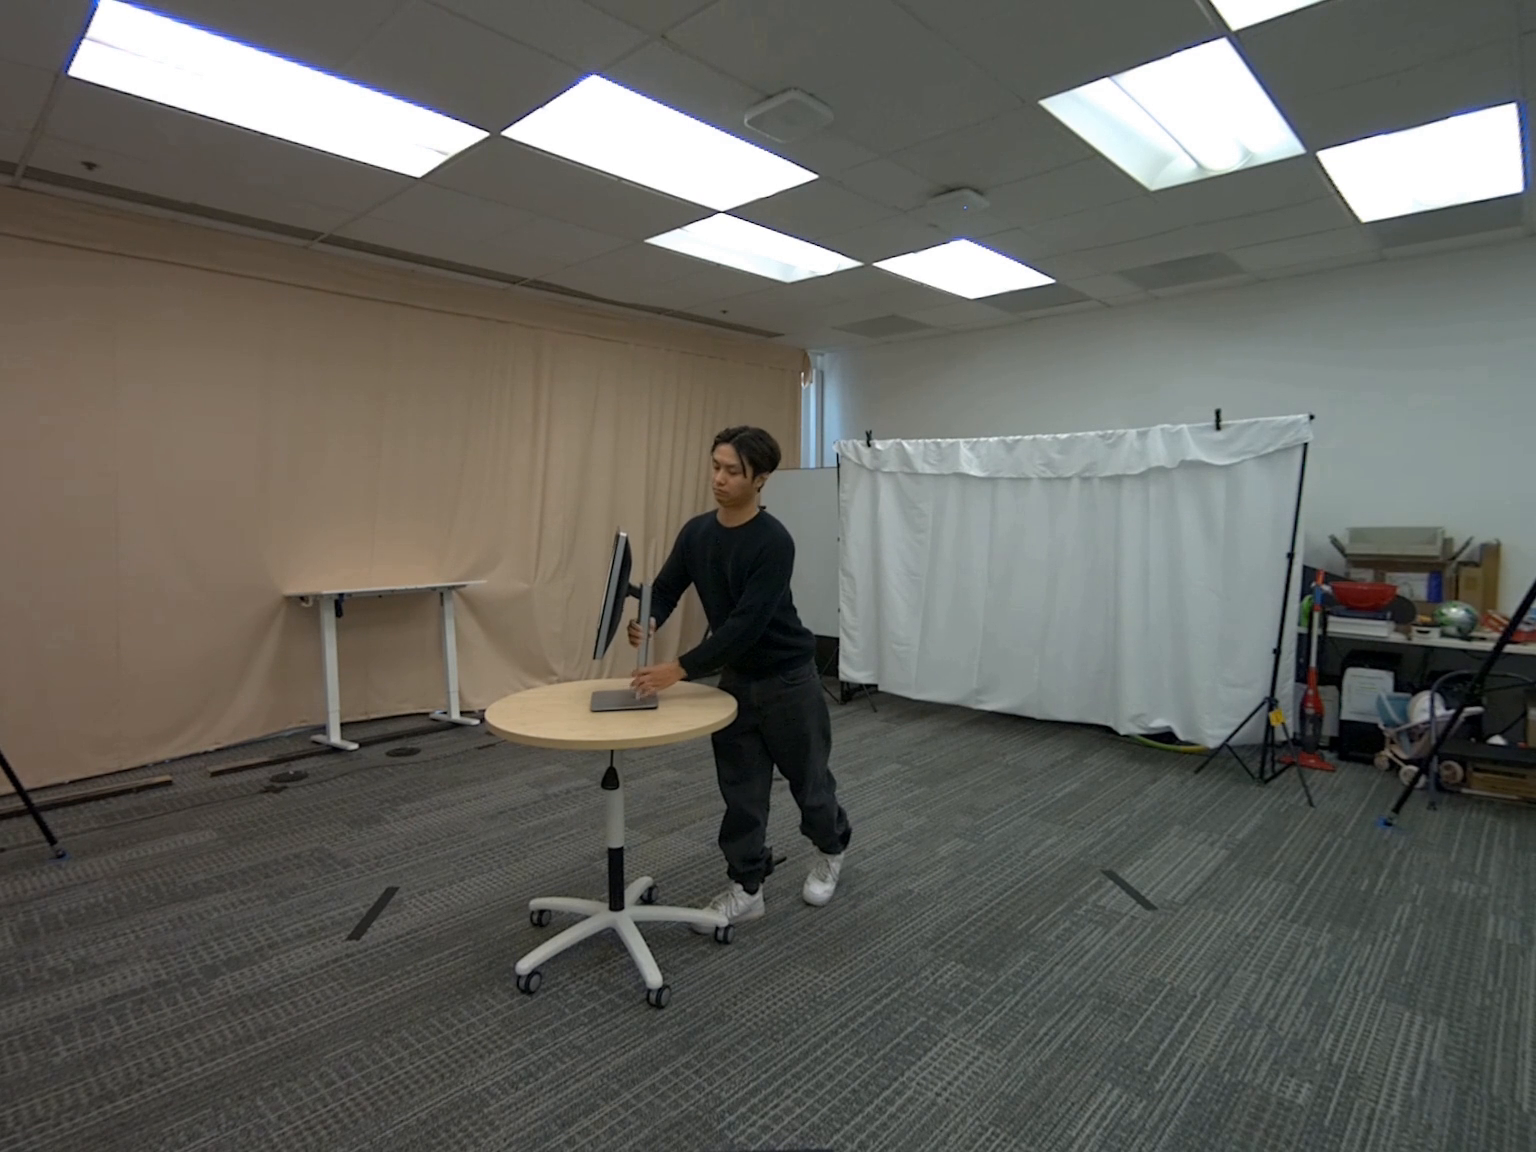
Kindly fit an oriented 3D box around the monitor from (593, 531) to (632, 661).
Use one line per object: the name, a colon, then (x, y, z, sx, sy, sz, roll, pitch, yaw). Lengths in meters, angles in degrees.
monitor: (-0.453, 0.127, 2.623, 0.173, 0.514, 0.537, -5, 5, -10)
